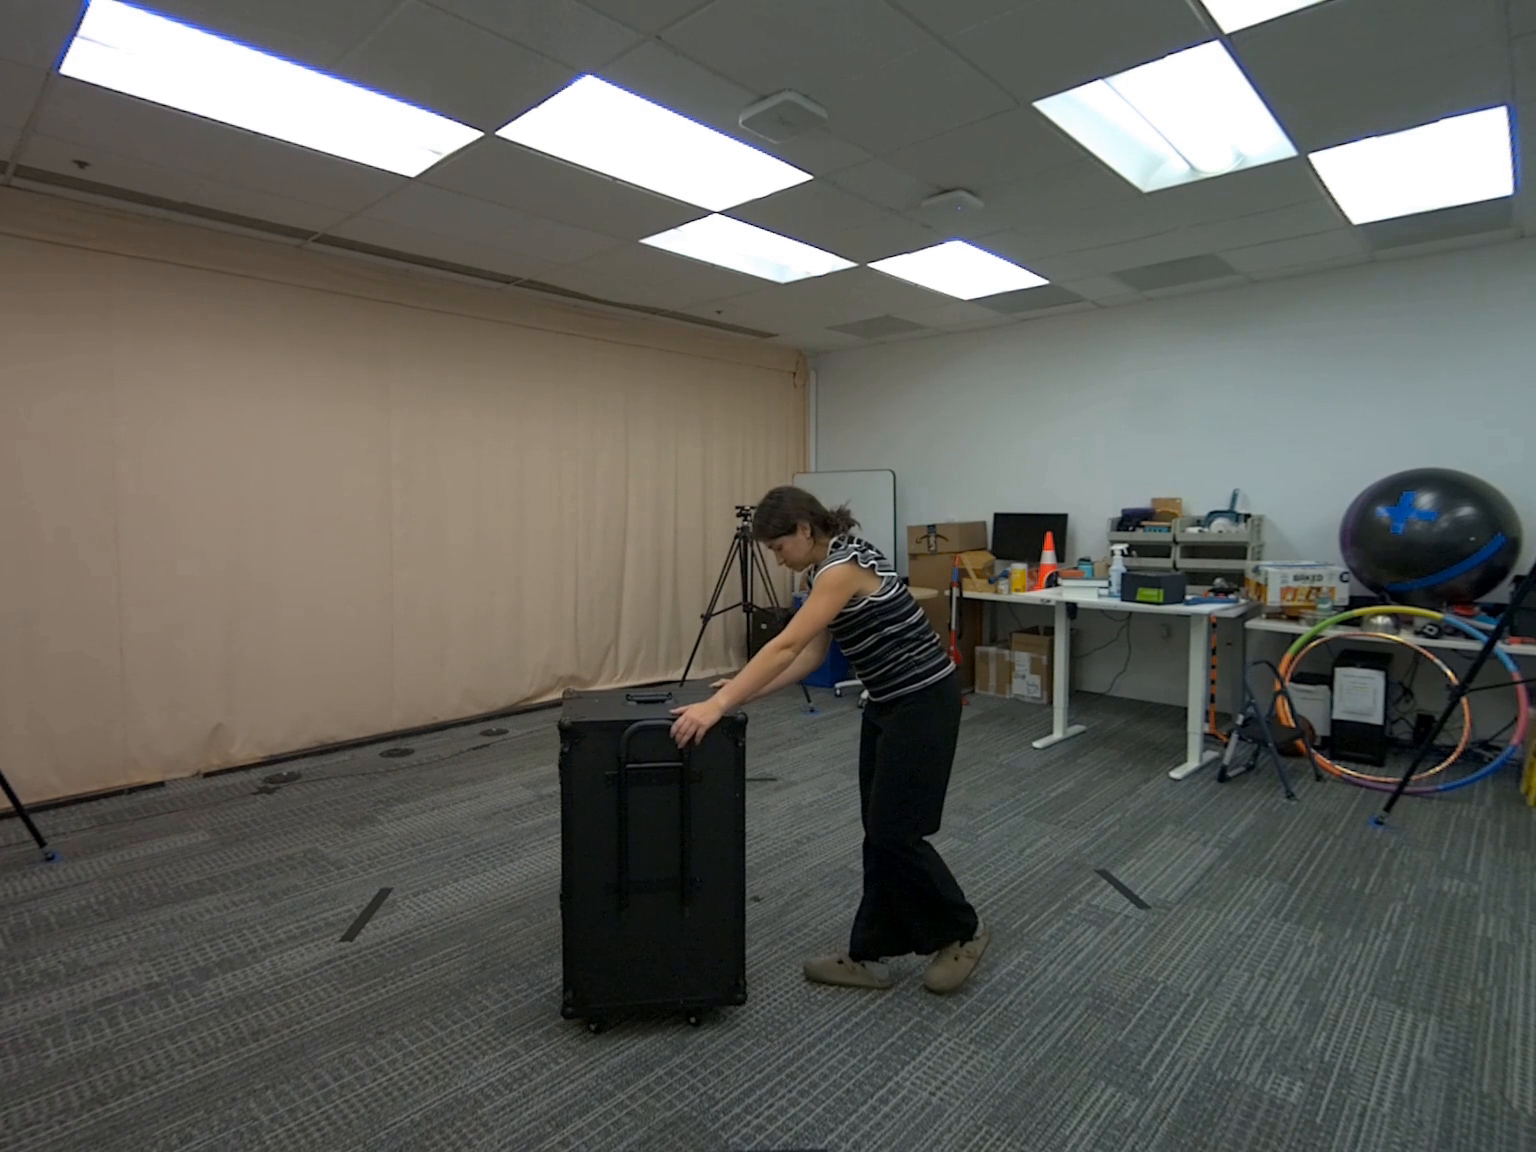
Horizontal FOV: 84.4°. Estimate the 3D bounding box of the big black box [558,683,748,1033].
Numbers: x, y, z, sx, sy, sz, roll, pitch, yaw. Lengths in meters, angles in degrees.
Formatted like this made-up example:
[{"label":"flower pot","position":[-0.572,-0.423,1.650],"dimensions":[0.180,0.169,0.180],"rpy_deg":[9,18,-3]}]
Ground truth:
[{"label":"big black box","position":[-0.317,0.779,2.346],"dimensions":[0.516,0.859,0.401],"rpy_deg":[0,4,-9]}]
